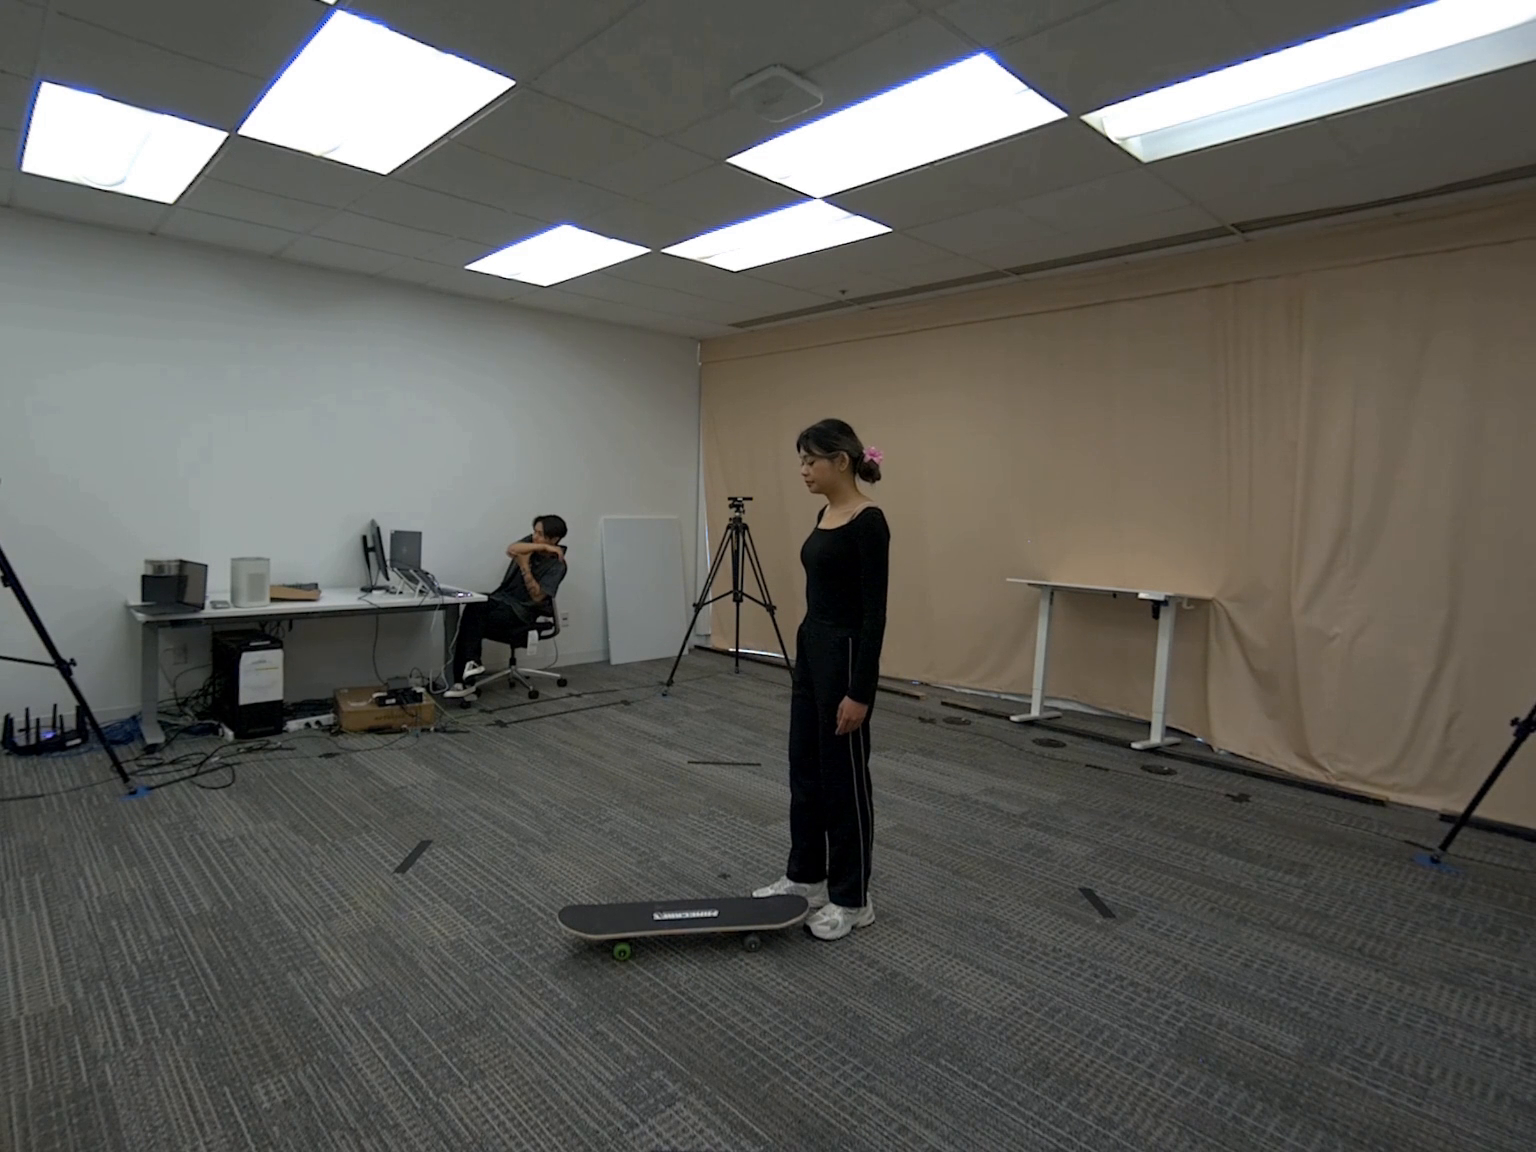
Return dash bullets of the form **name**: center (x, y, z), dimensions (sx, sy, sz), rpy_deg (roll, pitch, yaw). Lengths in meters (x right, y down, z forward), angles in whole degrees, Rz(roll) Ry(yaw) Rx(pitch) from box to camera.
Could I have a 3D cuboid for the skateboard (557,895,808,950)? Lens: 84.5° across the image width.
- **skateboard**: center (-0.261, 1.093, 2.625), dimensions (0.780, 0.110, 0.195), rpy_deg (1, 4, -9)
